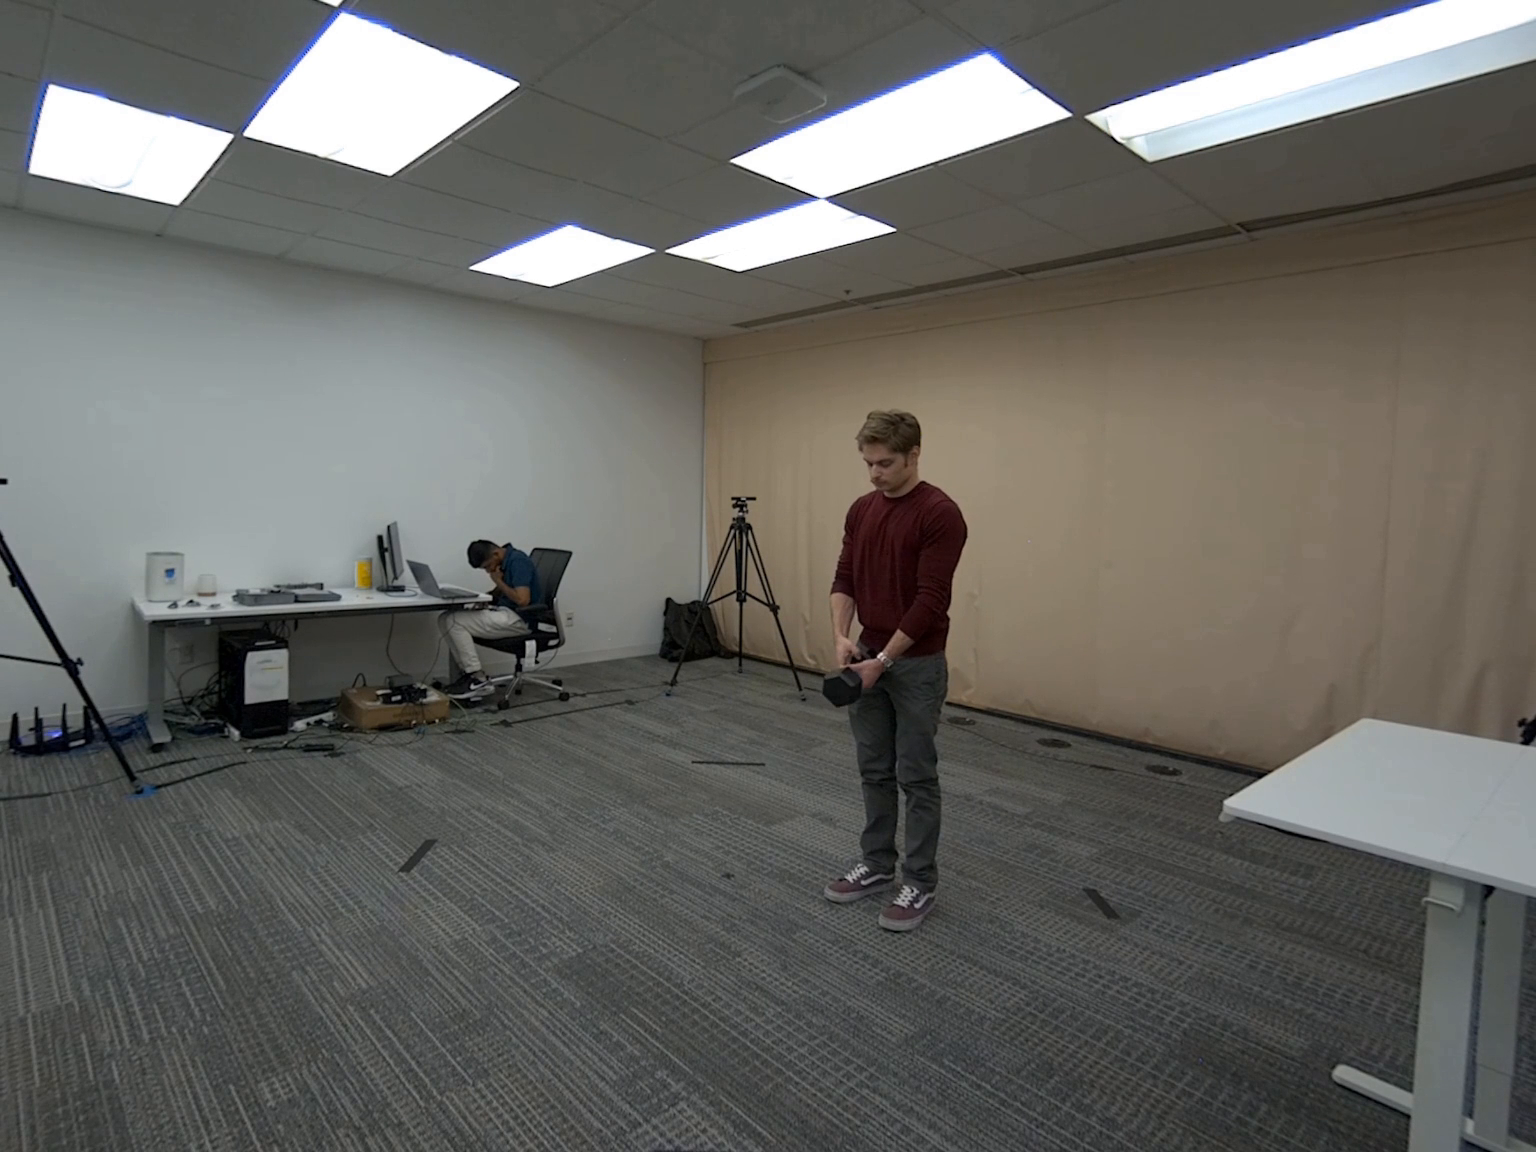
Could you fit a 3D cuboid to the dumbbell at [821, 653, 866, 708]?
[{"bbox_3d":[0.276,0.333,2.740,0.111,0.122,0.289,12,16,26],"label":"dumbbell"}]
